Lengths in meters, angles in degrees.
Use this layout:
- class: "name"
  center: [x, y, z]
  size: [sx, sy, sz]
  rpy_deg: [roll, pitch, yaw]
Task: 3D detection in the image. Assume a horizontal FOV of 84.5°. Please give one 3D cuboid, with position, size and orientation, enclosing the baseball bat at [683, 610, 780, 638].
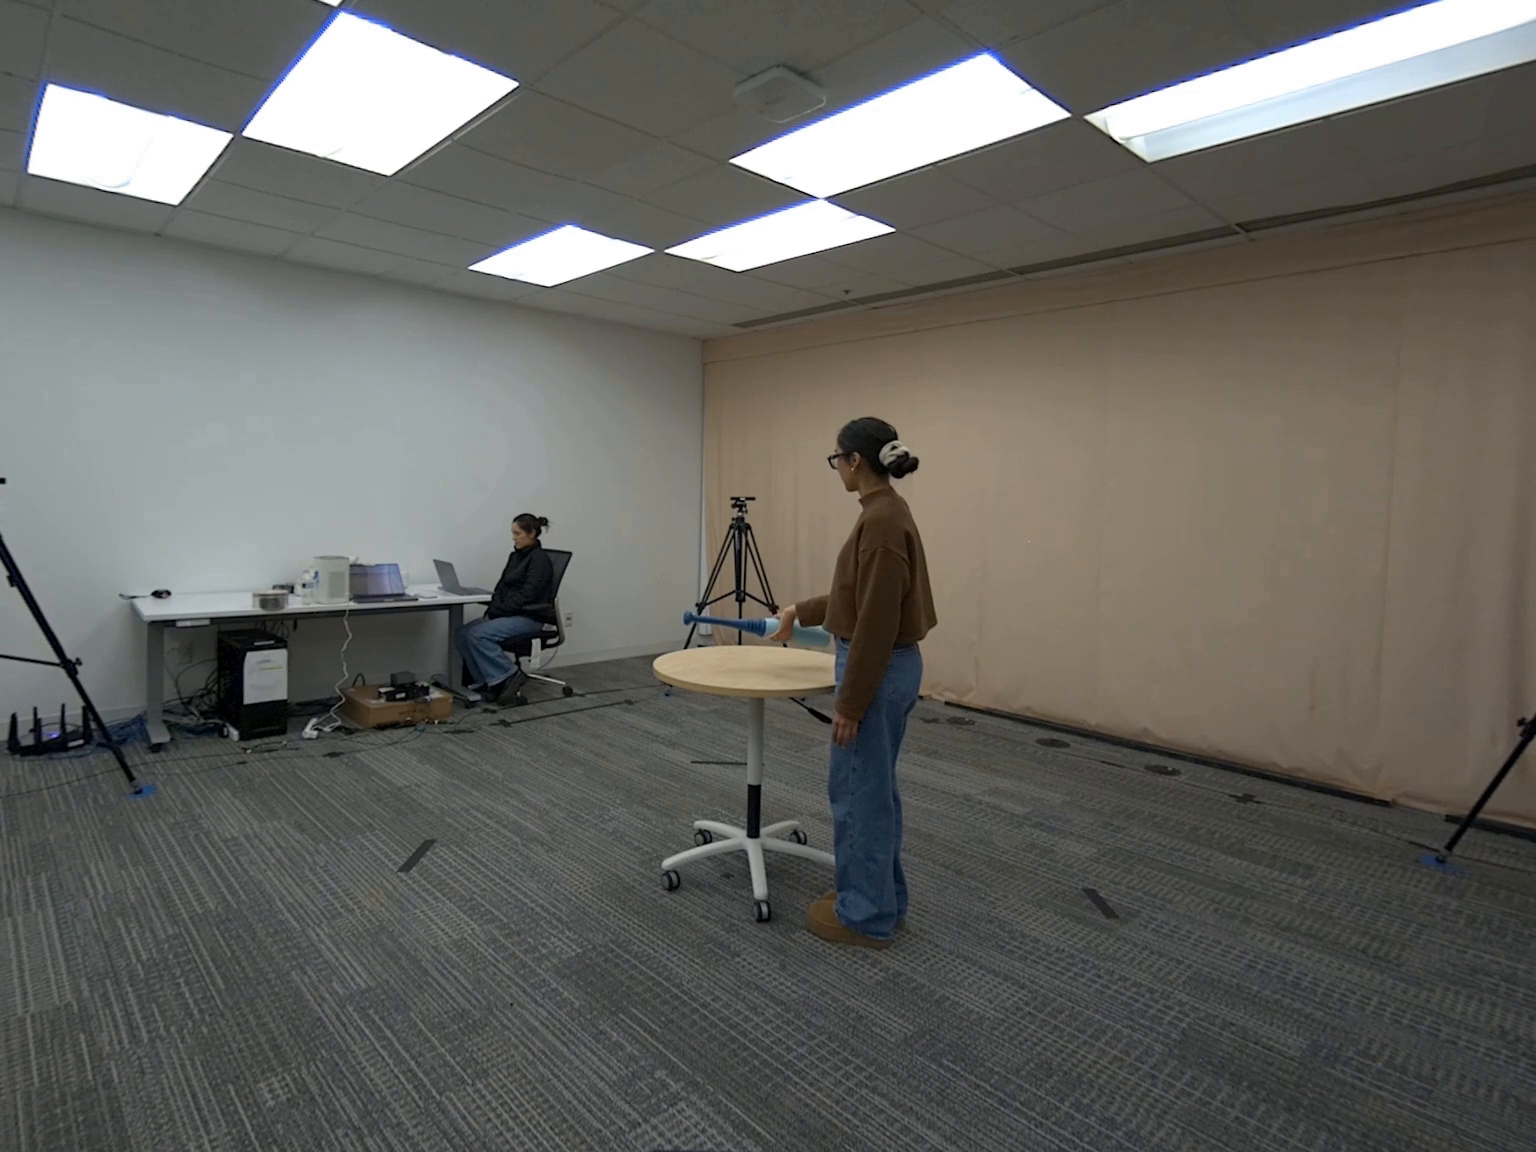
- class: "baseball bat"
  center: [-0.037, 0.187, 3.012]
  size: [0.537, 0.089, 0.090]
  rpy_deg: [8, 3, -11]
